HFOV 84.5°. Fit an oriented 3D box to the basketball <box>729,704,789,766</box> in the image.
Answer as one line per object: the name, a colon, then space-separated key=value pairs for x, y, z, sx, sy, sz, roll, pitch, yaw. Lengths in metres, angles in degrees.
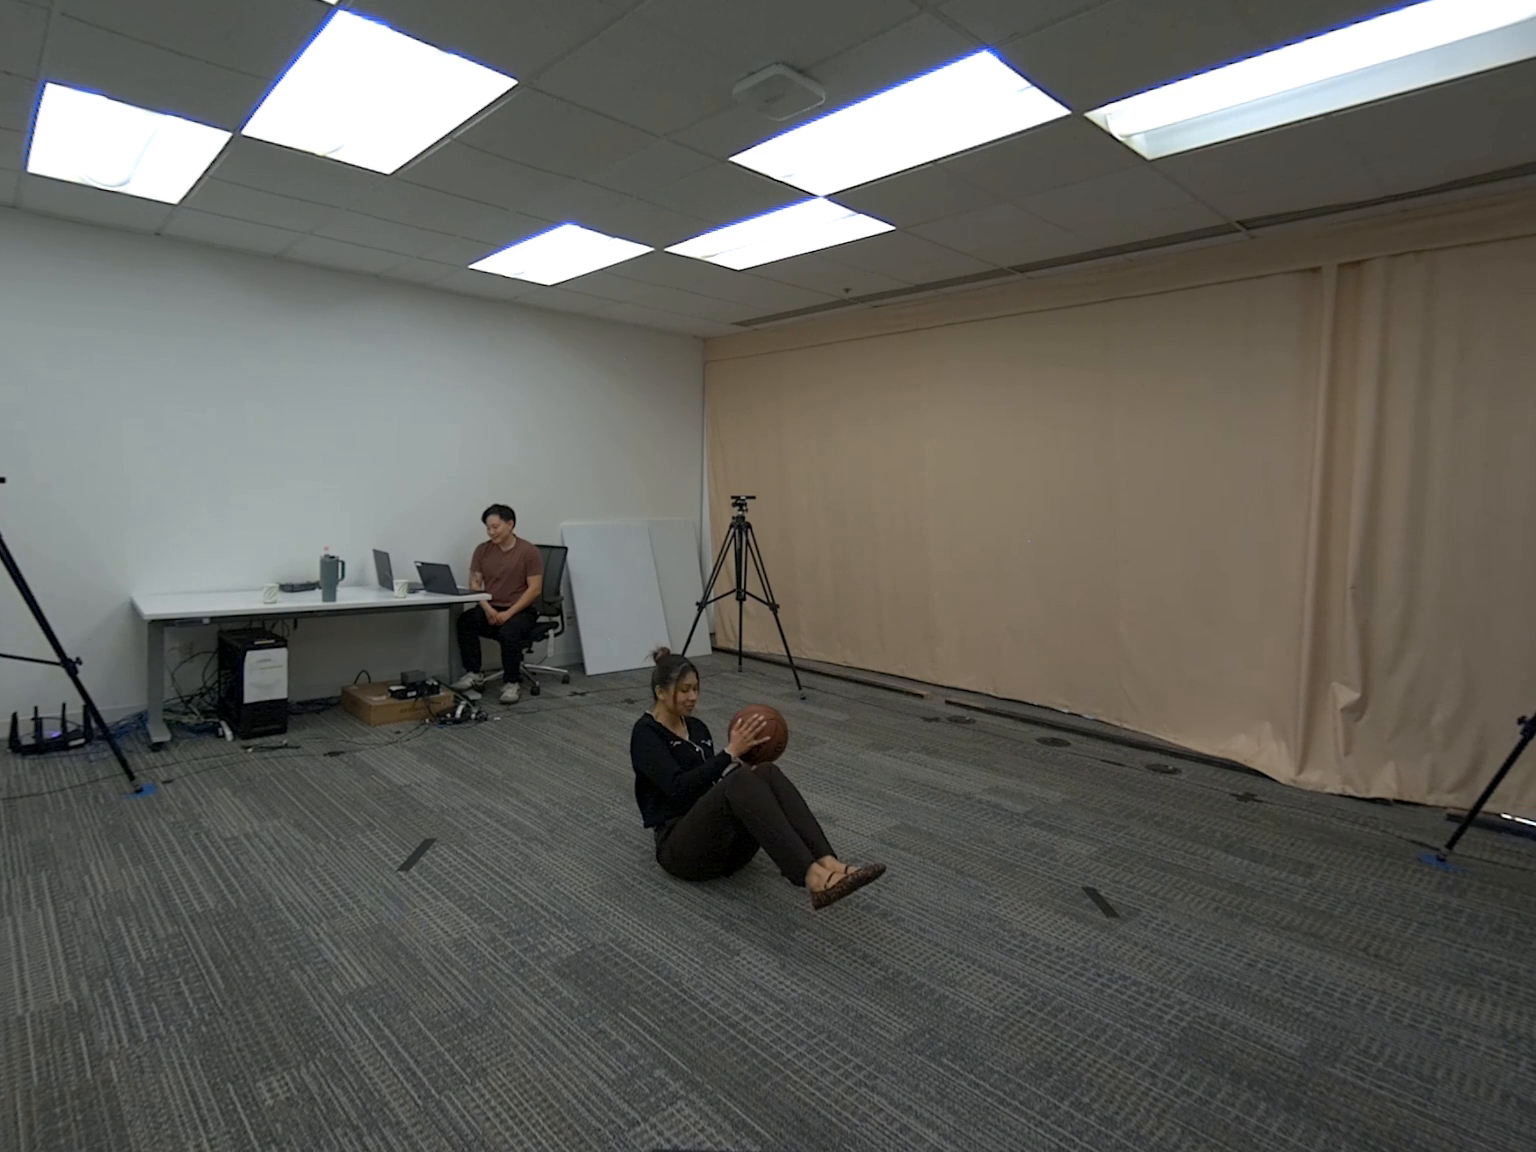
basketball: x=-0.066 y=0.625 z=3.265 sx=0.236 sy=0.235 sz=0.237 roll=1 pitch=4 yaw=-1
